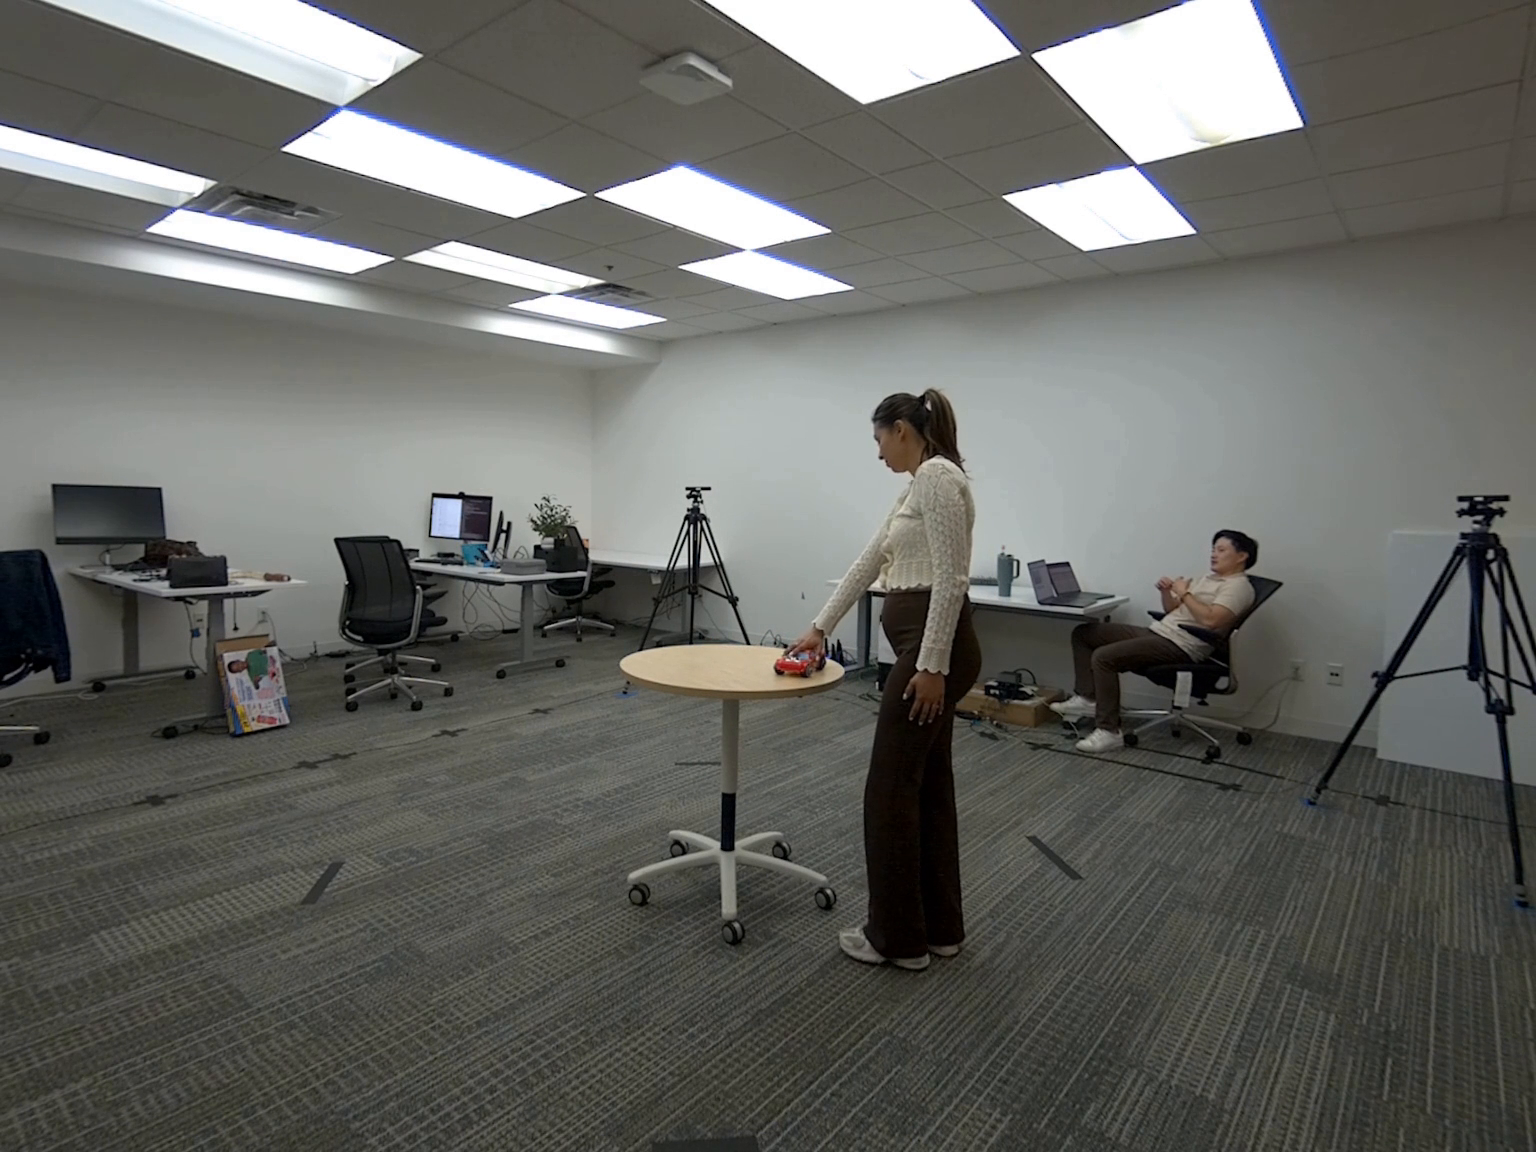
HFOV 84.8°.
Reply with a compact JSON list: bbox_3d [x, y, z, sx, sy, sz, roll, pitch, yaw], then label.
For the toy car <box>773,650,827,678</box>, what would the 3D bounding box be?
[{"bbox_3d":[0.108,0.284,2.849,0.133,0.082,0.252,4,17,23],"label":"toy car"}]
